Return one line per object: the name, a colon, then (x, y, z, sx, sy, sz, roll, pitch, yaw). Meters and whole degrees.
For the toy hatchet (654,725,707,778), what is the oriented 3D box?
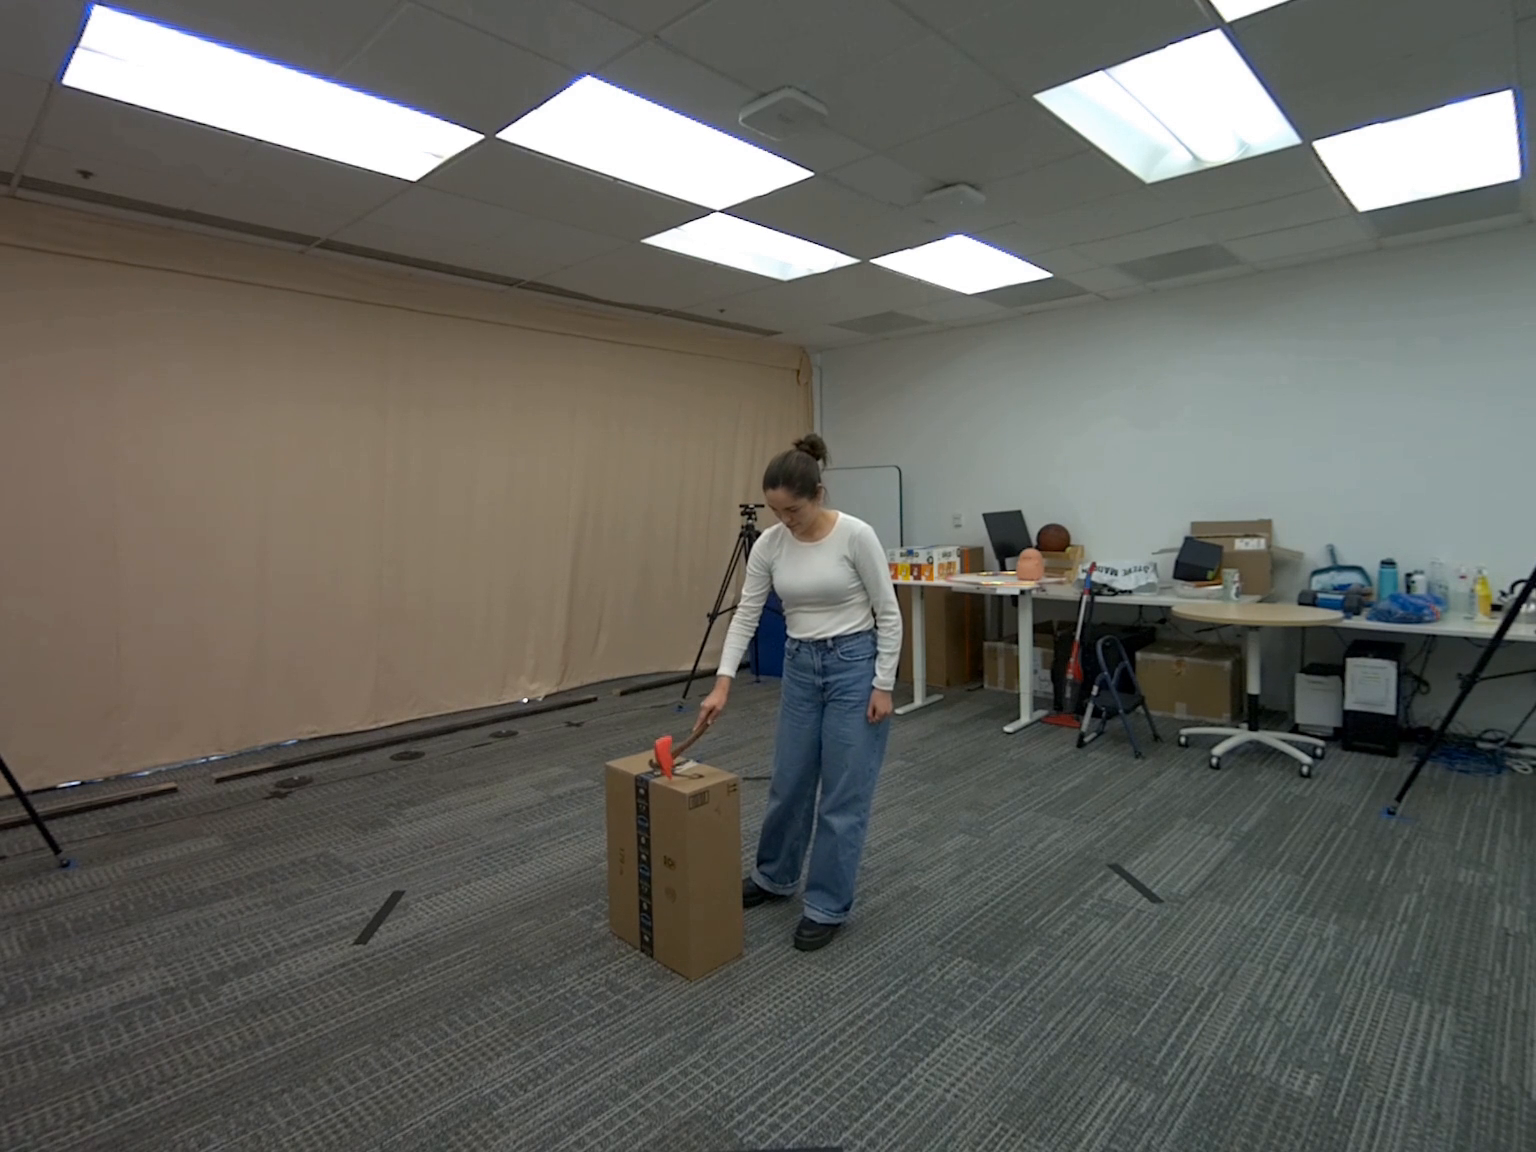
toy hatchet: (-0.238, 0.473, 2.588, 0.030, 0.128, 0.269, -3, 40, 47)
